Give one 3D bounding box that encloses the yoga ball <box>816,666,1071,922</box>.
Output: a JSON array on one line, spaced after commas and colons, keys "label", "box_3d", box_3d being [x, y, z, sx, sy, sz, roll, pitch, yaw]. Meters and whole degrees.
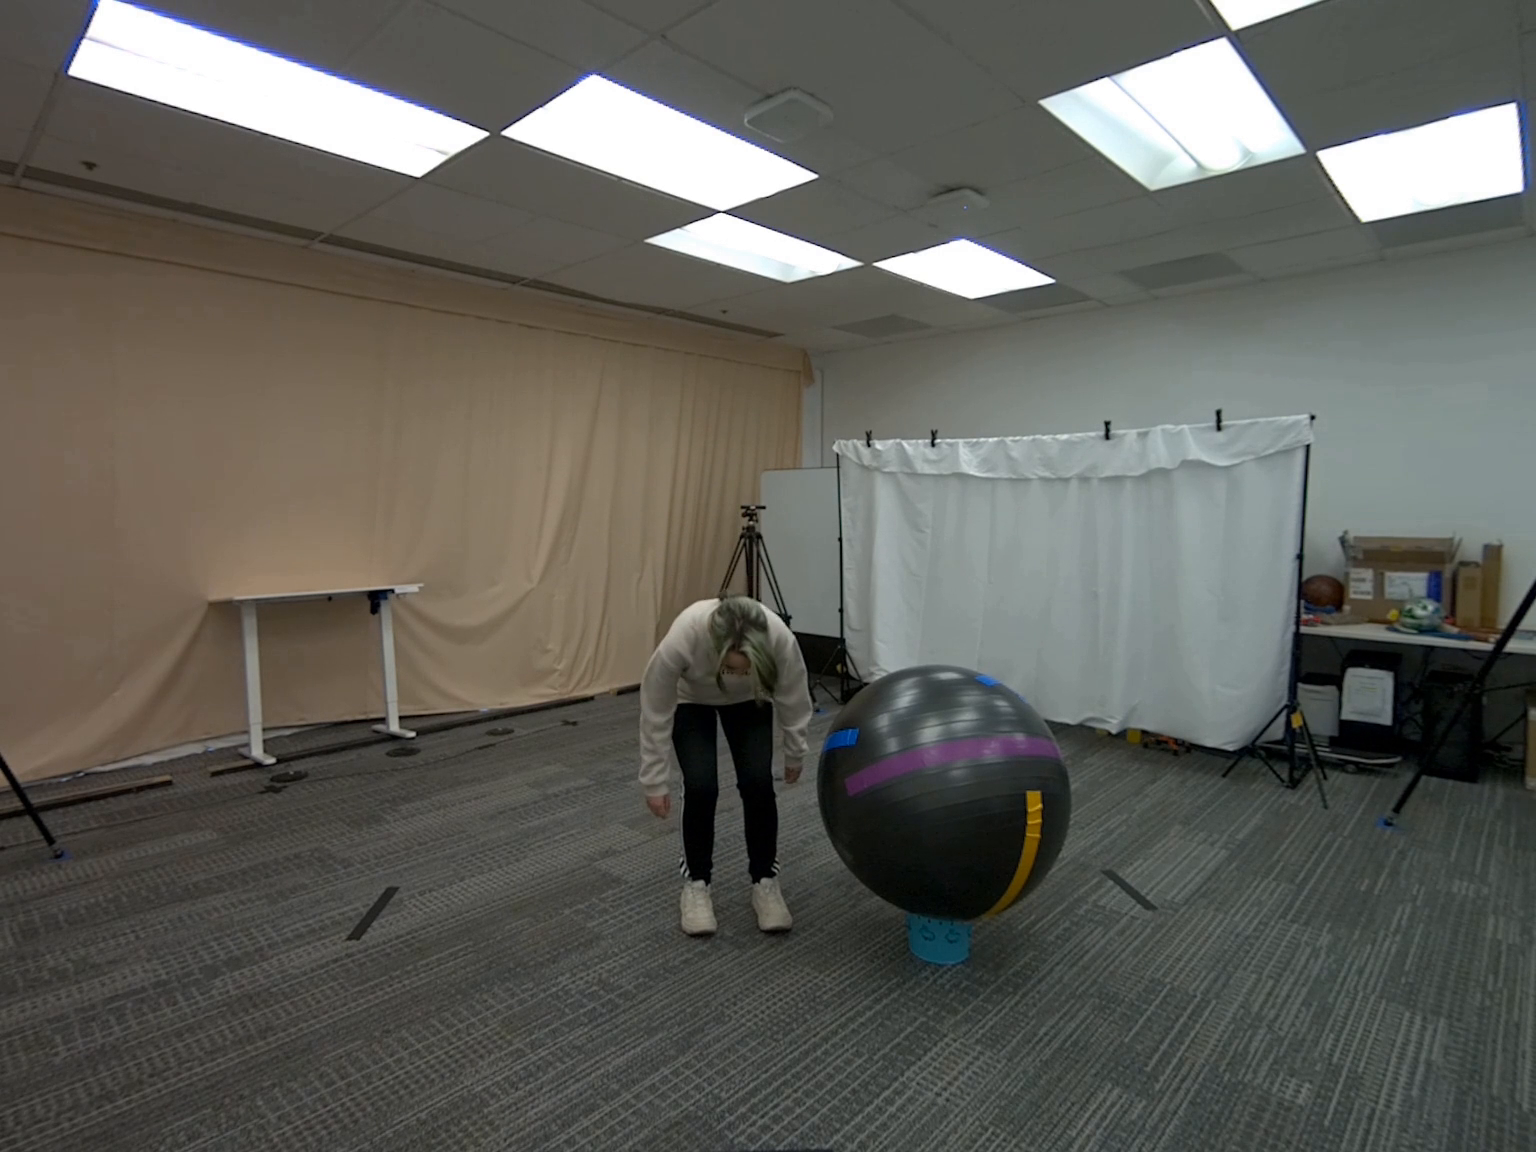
[{"label": "yoga ball", "box_3d": [0.535, 0.661, 2.618, 0.757, 0.756, 0.761, 0, 4, -2]}]
